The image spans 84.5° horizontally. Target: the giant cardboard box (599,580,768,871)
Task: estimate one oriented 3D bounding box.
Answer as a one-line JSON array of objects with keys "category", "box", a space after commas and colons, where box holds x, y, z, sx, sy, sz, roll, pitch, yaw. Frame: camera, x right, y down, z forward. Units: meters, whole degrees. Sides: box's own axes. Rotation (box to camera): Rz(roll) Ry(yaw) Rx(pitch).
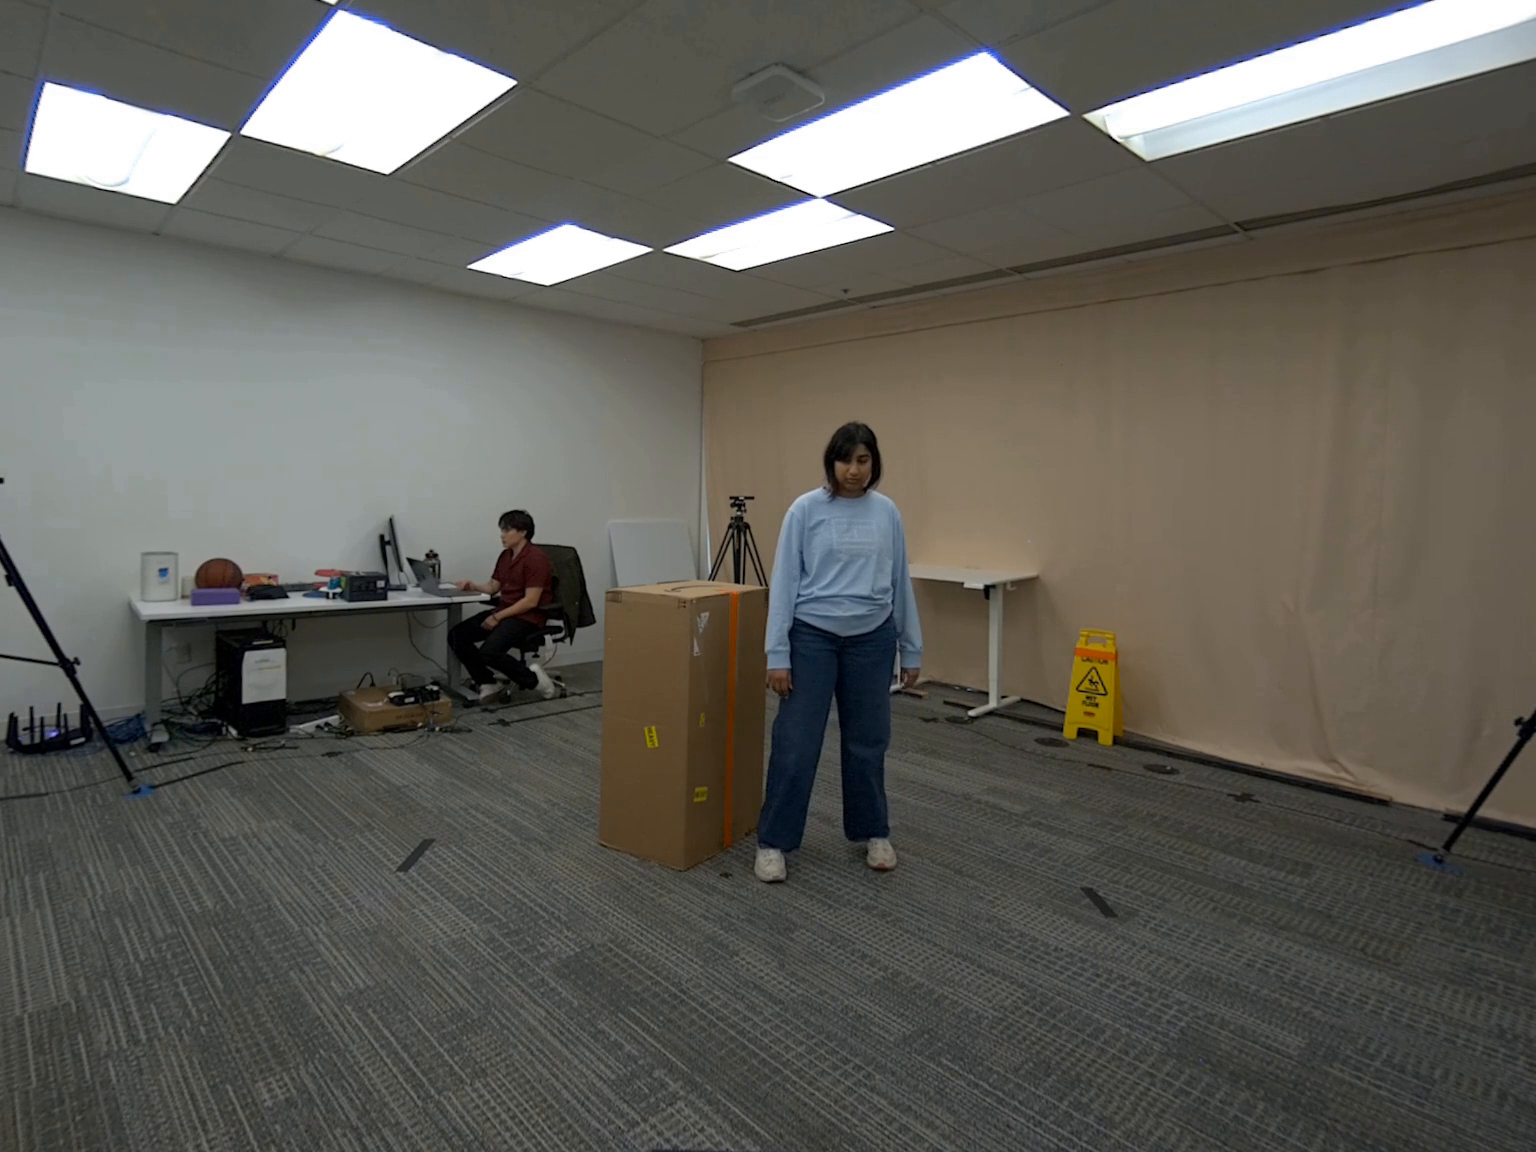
[{"category": "giant cardboard box", "box": [-0.336, 0.559, 3.455, 0.436, 1.023, 0.565, 4, 4, 32]}]
